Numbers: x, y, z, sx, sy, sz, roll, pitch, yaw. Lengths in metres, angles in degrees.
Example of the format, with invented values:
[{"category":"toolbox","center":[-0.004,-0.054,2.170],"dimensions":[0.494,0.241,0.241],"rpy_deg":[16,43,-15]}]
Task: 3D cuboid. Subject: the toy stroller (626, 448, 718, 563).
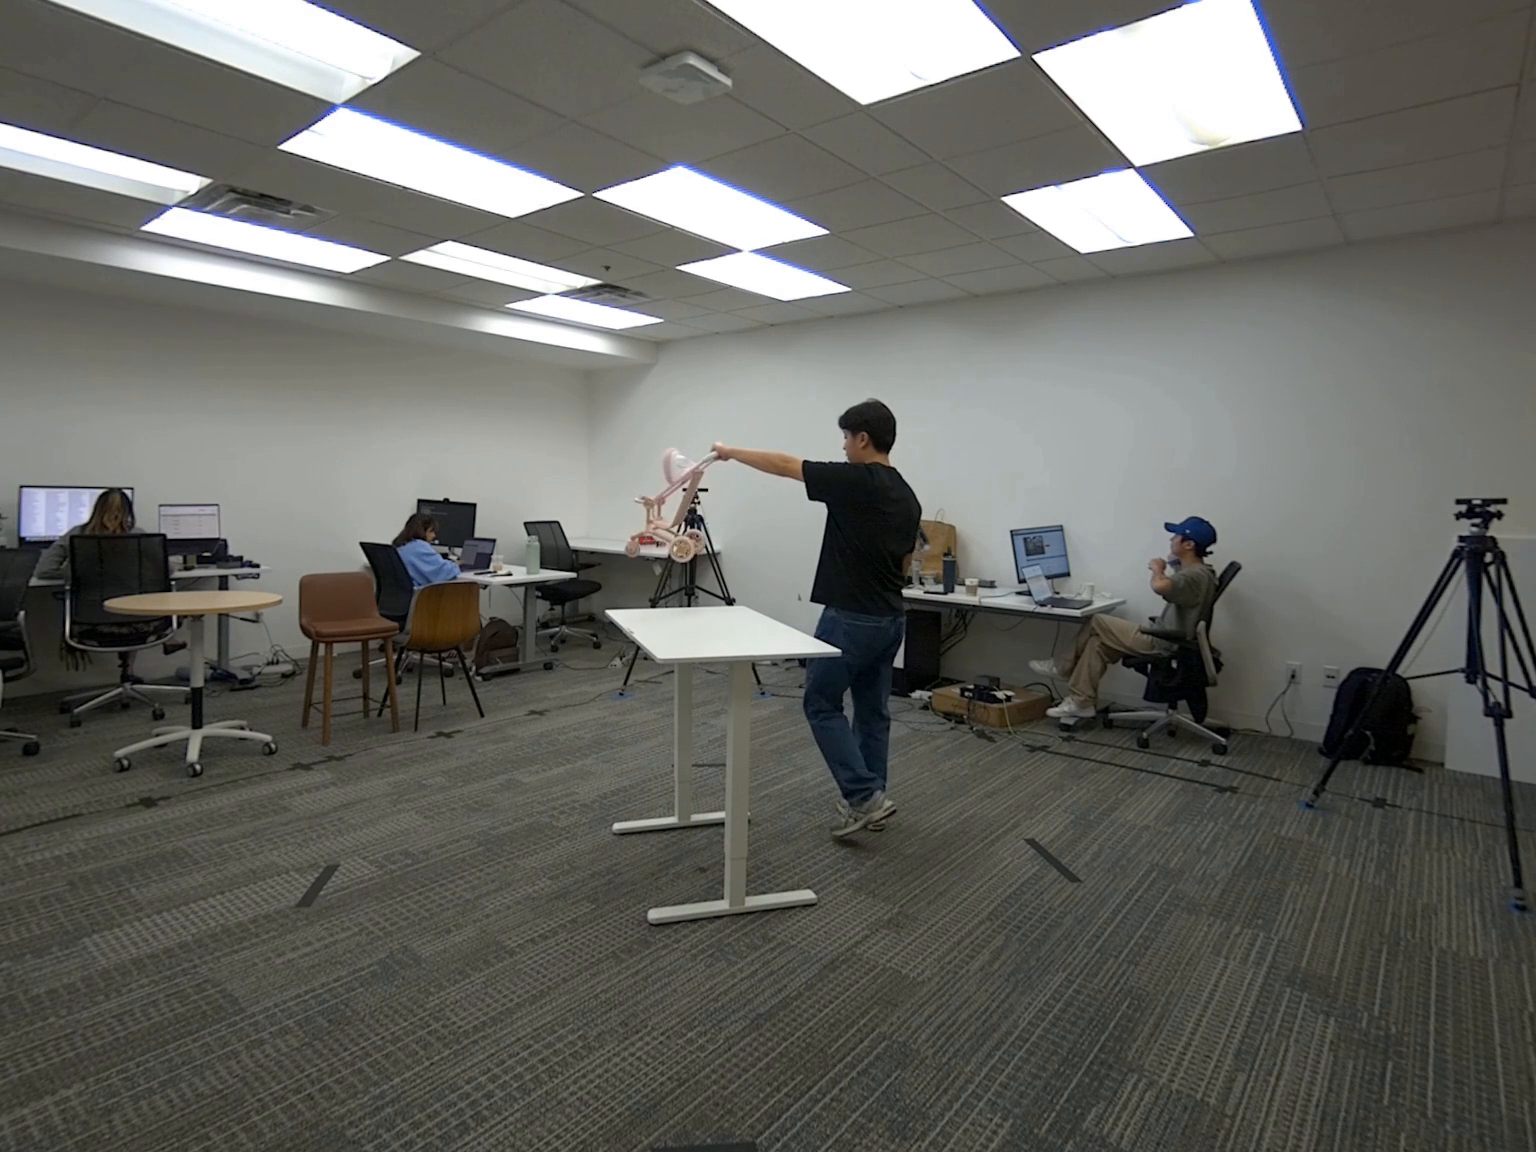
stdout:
[{"category":"toy stroller","center":[-0.427,-0.309,3.650],"dimensions":[0.347,0.531,0.279],"rpy_deg":[14,10,11]}]
